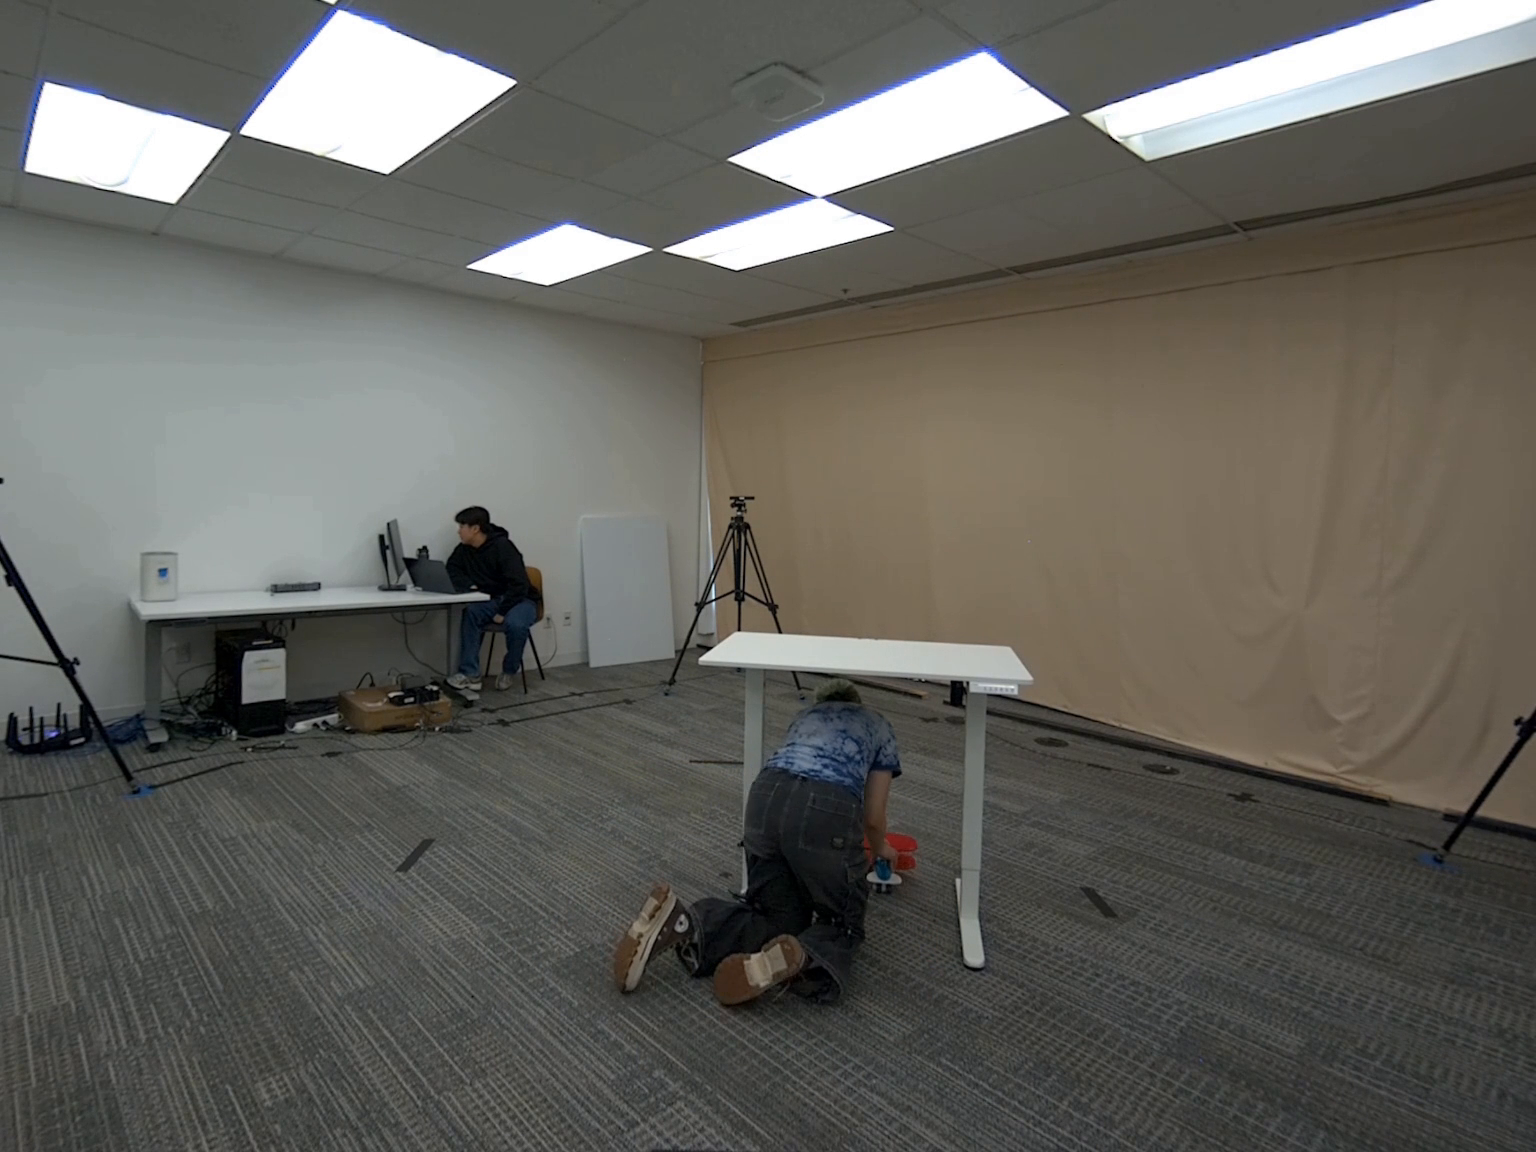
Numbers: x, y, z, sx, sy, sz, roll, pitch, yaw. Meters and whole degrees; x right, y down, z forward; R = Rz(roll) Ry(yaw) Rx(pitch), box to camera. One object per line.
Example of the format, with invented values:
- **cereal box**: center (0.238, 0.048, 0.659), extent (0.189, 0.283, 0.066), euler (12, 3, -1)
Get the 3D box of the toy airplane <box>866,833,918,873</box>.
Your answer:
- **toy airplane**: center (0.434, 1.050, 3.077), extent (0.247, 0.156, 0.264), euler (1, 4, -23)
